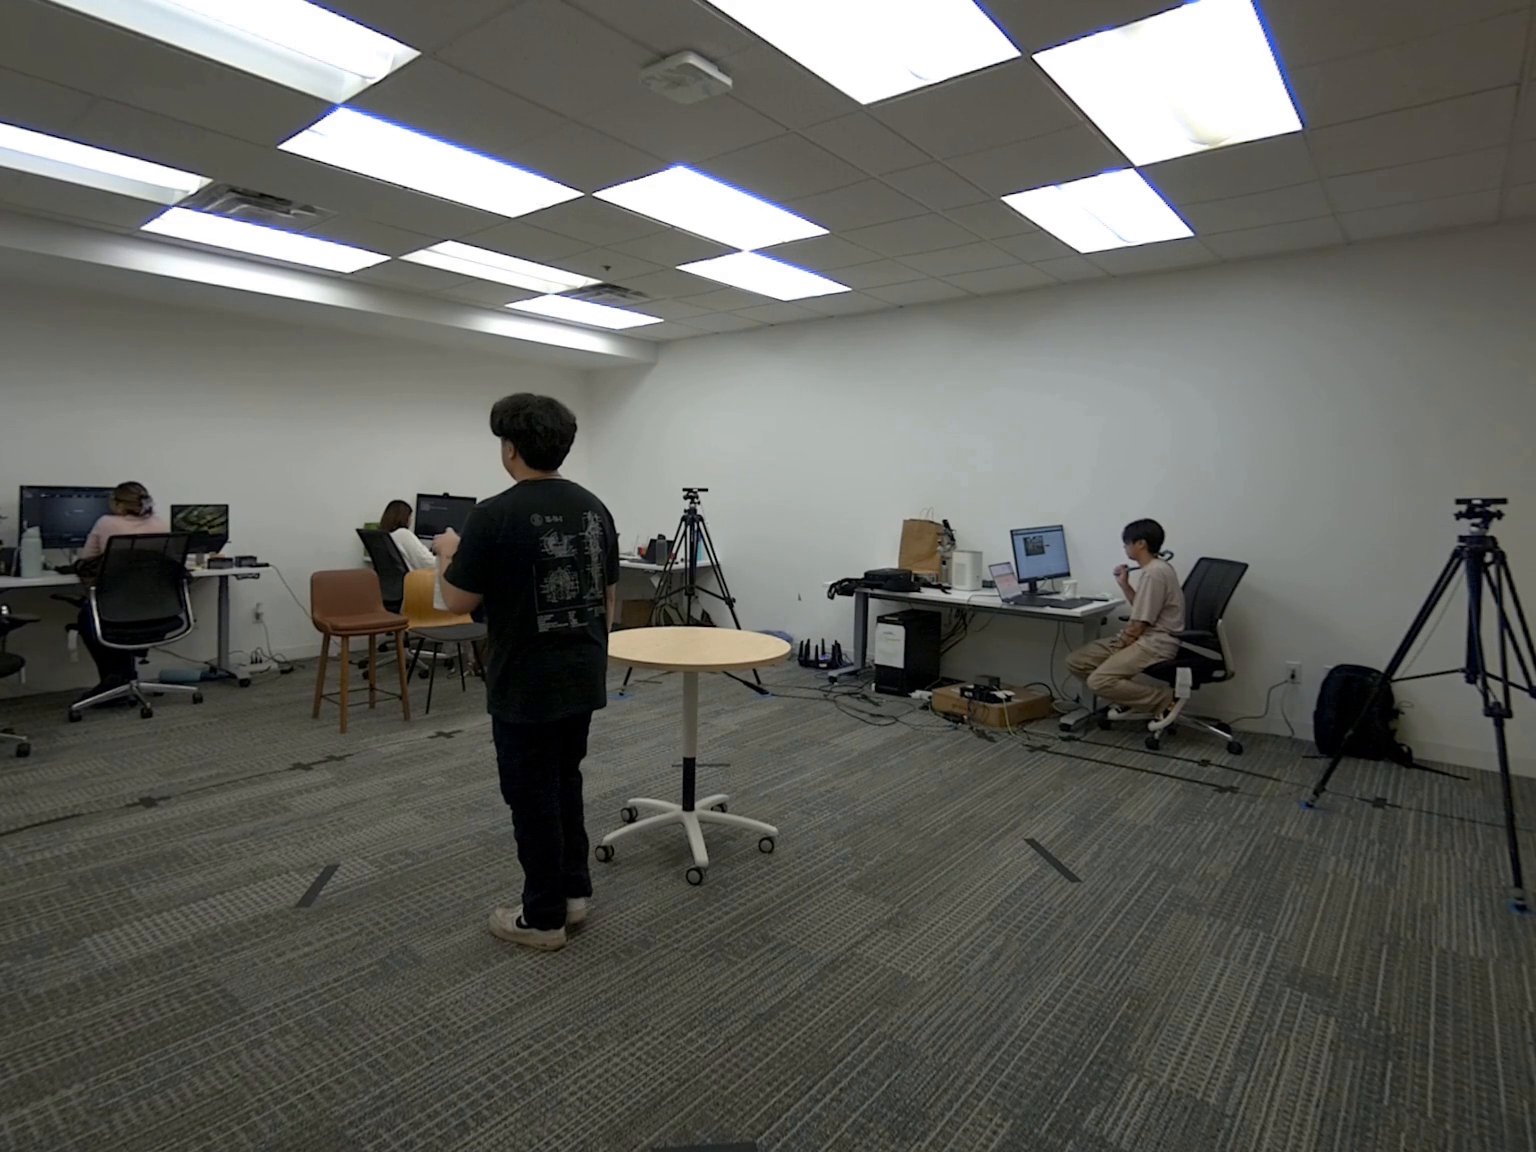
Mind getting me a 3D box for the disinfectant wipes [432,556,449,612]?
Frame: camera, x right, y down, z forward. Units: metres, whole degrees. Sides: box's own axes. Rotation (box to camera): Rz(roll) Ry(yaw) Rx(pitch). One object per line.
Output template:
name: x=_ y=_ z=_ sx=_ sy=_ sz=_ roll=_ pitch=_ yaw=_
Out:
disinfectant wipes: x=-1.011 y=-0.003 z=2.716 sx=0.117 sy=0.217 sz=0.118 roll=3 pitch=2 yaw=-2
